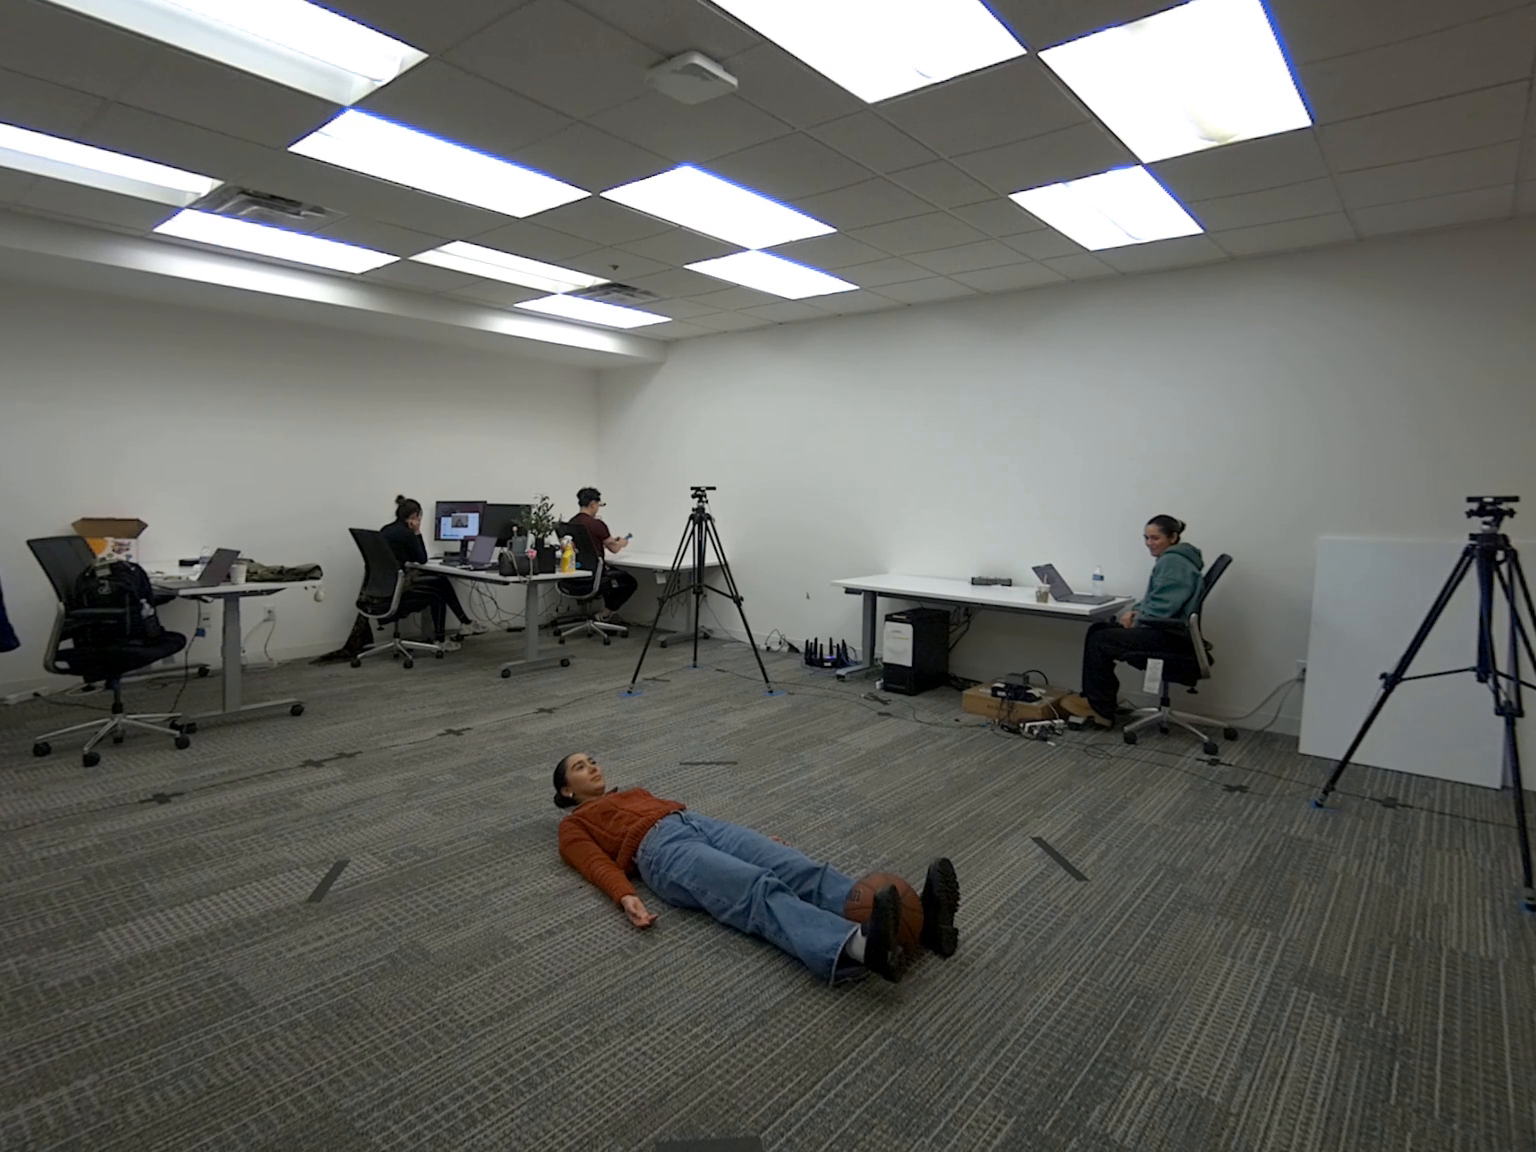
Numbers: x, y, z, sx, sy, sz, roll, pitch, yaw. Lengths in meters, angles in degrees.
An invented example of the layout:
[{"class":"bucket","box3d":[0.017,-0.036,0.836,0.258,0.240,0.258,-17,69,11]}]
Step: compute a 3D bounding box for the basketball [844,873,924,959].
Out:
[{"class":"basketball","box3d":[0.341,1.021,2.548,0.236,0.235,0.237,1,4,-2]}]
